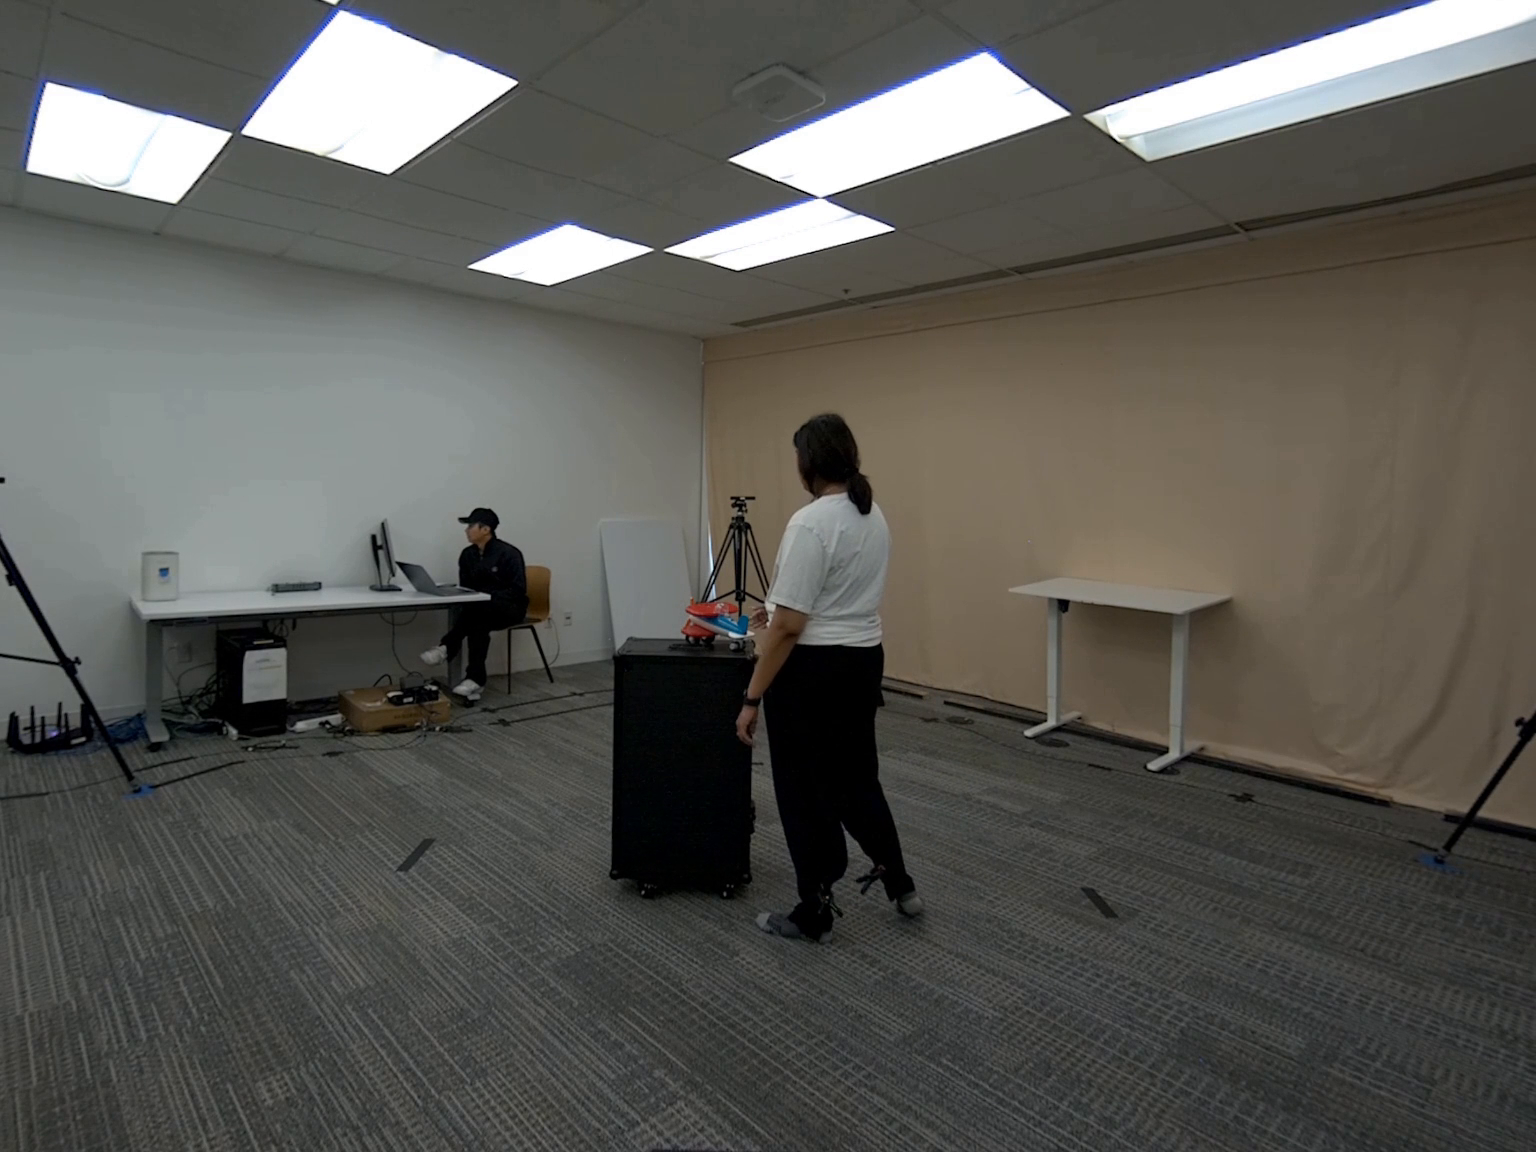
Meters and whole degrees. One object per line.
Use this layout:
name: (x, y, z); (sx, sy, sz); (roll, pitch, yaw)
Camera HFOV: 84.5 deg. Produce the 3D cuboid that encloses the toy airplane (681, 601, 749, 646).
toy airplane: (-0.182, 0.178, 3.059); (0.261, 0.156, 0.250); (2, 5, 7)
